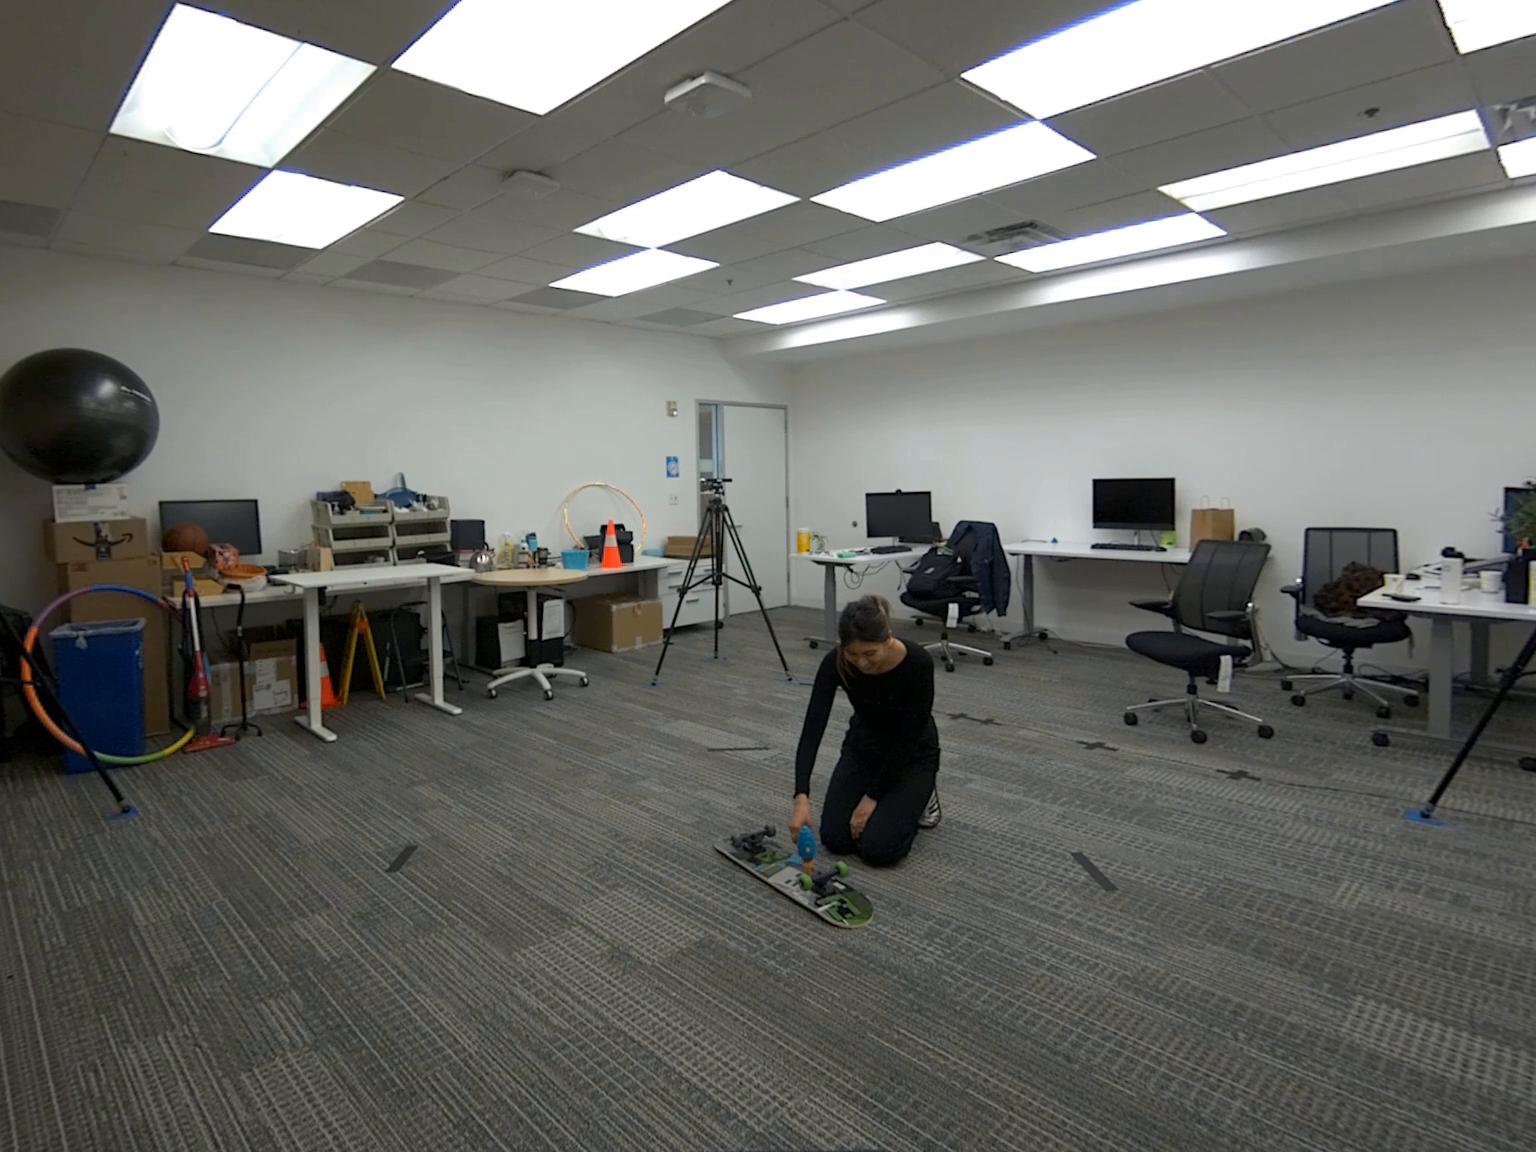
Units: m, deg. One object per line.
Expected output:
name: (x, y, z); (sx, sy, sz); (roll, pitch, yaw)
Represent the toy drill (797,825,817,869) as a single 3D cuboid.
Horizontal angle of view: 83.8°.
toy drill: (0.131, 0.905, 2.863); (0.061, 0.169, 0.147); (-4, 5, -3)
